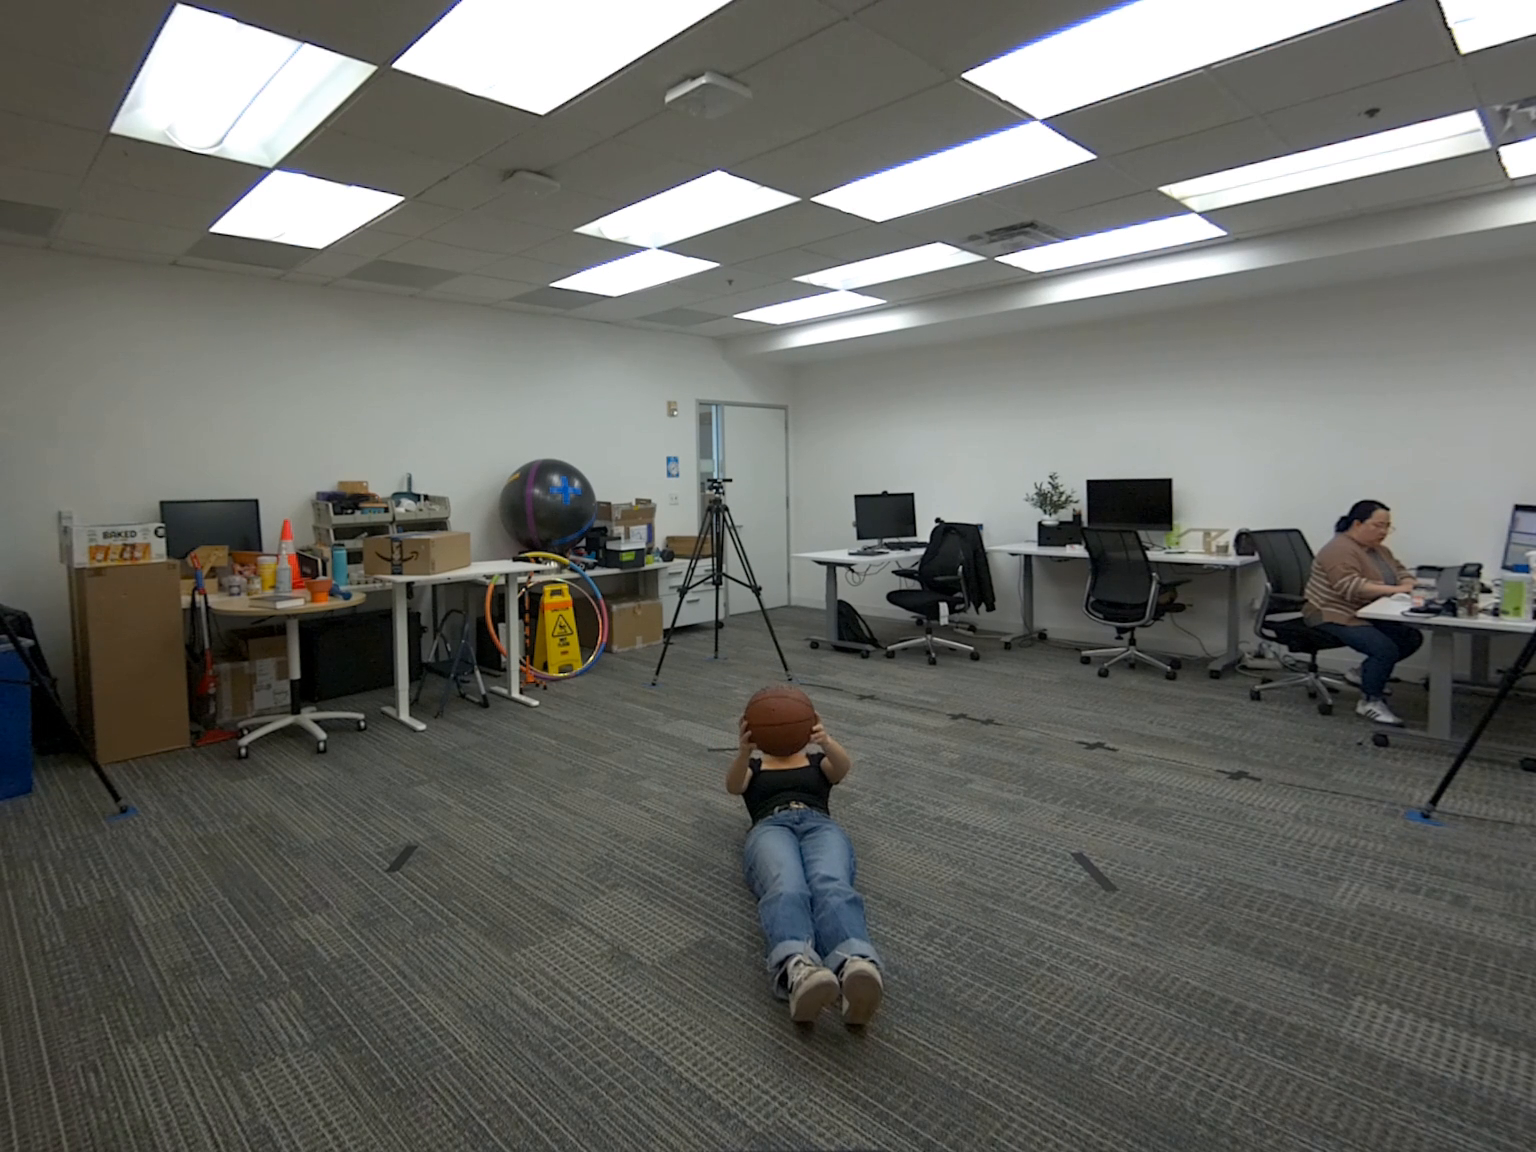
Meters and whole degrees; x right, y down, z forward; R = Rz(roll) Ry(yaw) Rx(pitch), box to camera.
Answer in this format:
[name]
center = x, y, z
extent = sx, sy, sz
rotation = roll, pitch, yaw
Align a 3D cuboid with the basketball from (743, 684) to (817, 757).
[basketball]
center = 0.042, 0.466, 2.855
extent = 0.236, 0.235, 0.237
rotation = -1, 5, -2
